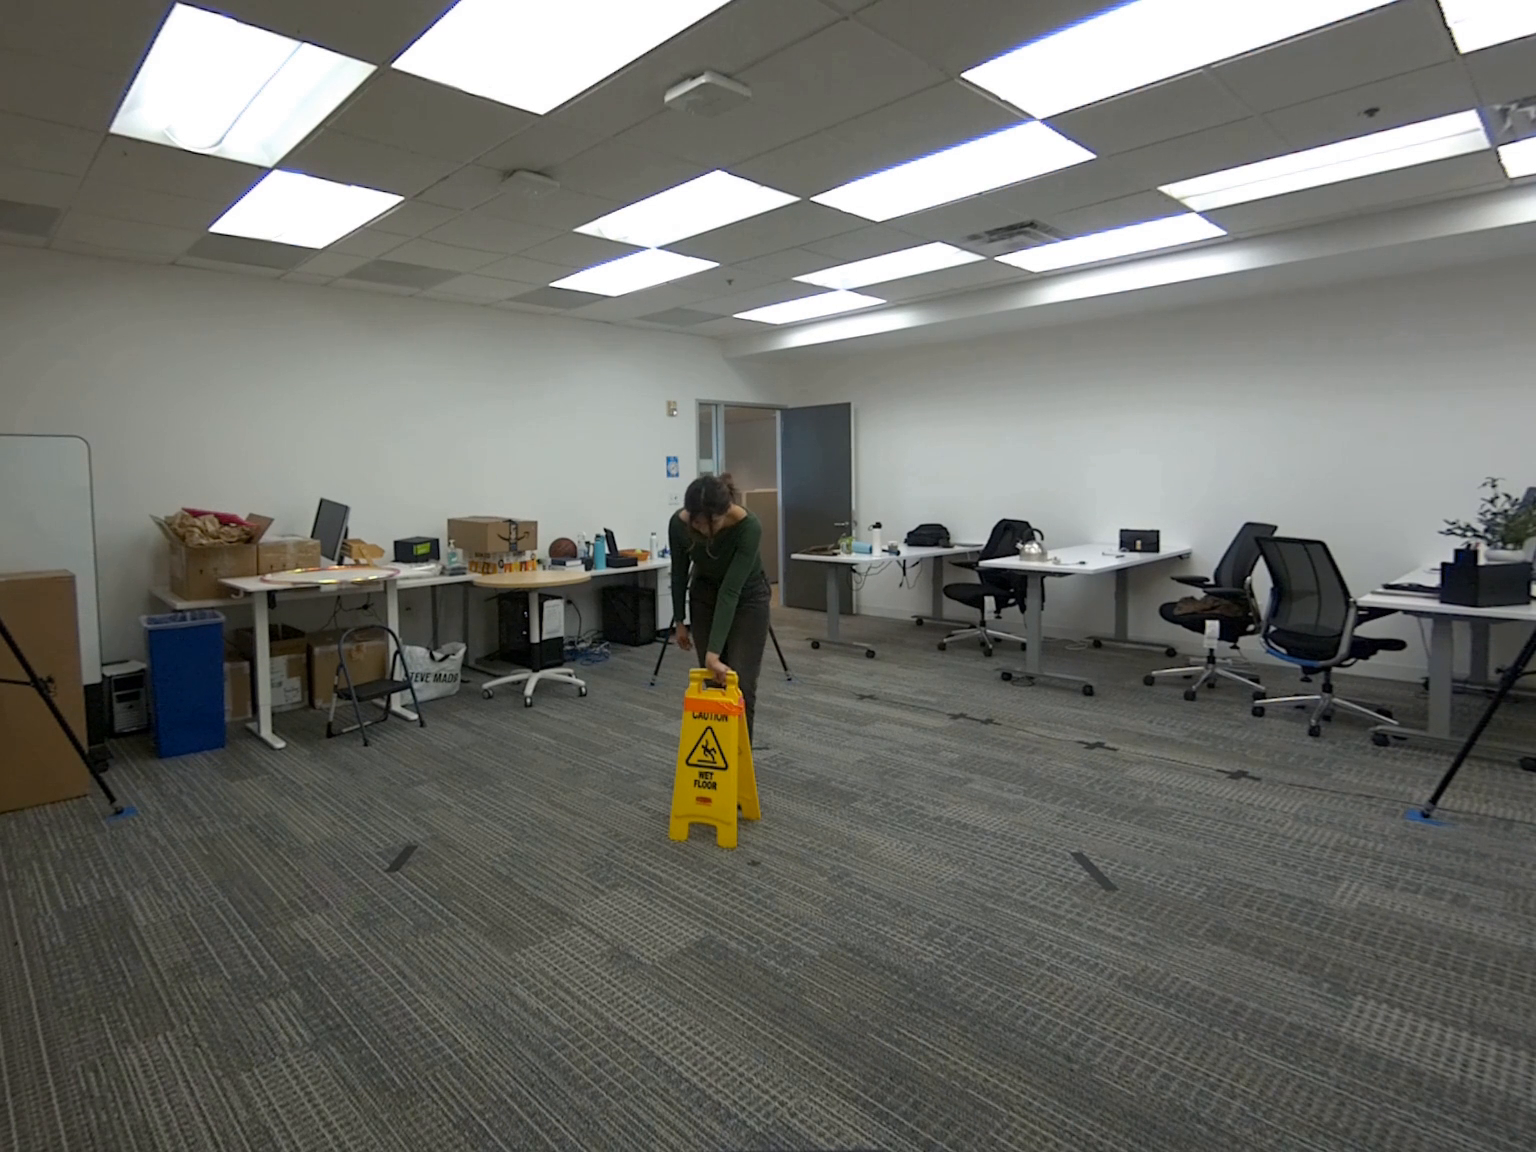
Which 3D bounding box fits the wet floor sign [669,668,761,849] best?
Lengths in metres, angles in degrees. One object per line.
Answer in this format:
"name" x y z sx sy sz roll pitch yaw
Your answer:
"wet floor sign" -0.219 0.692 3.398 0.288 0.644 0.285 1 4 20
